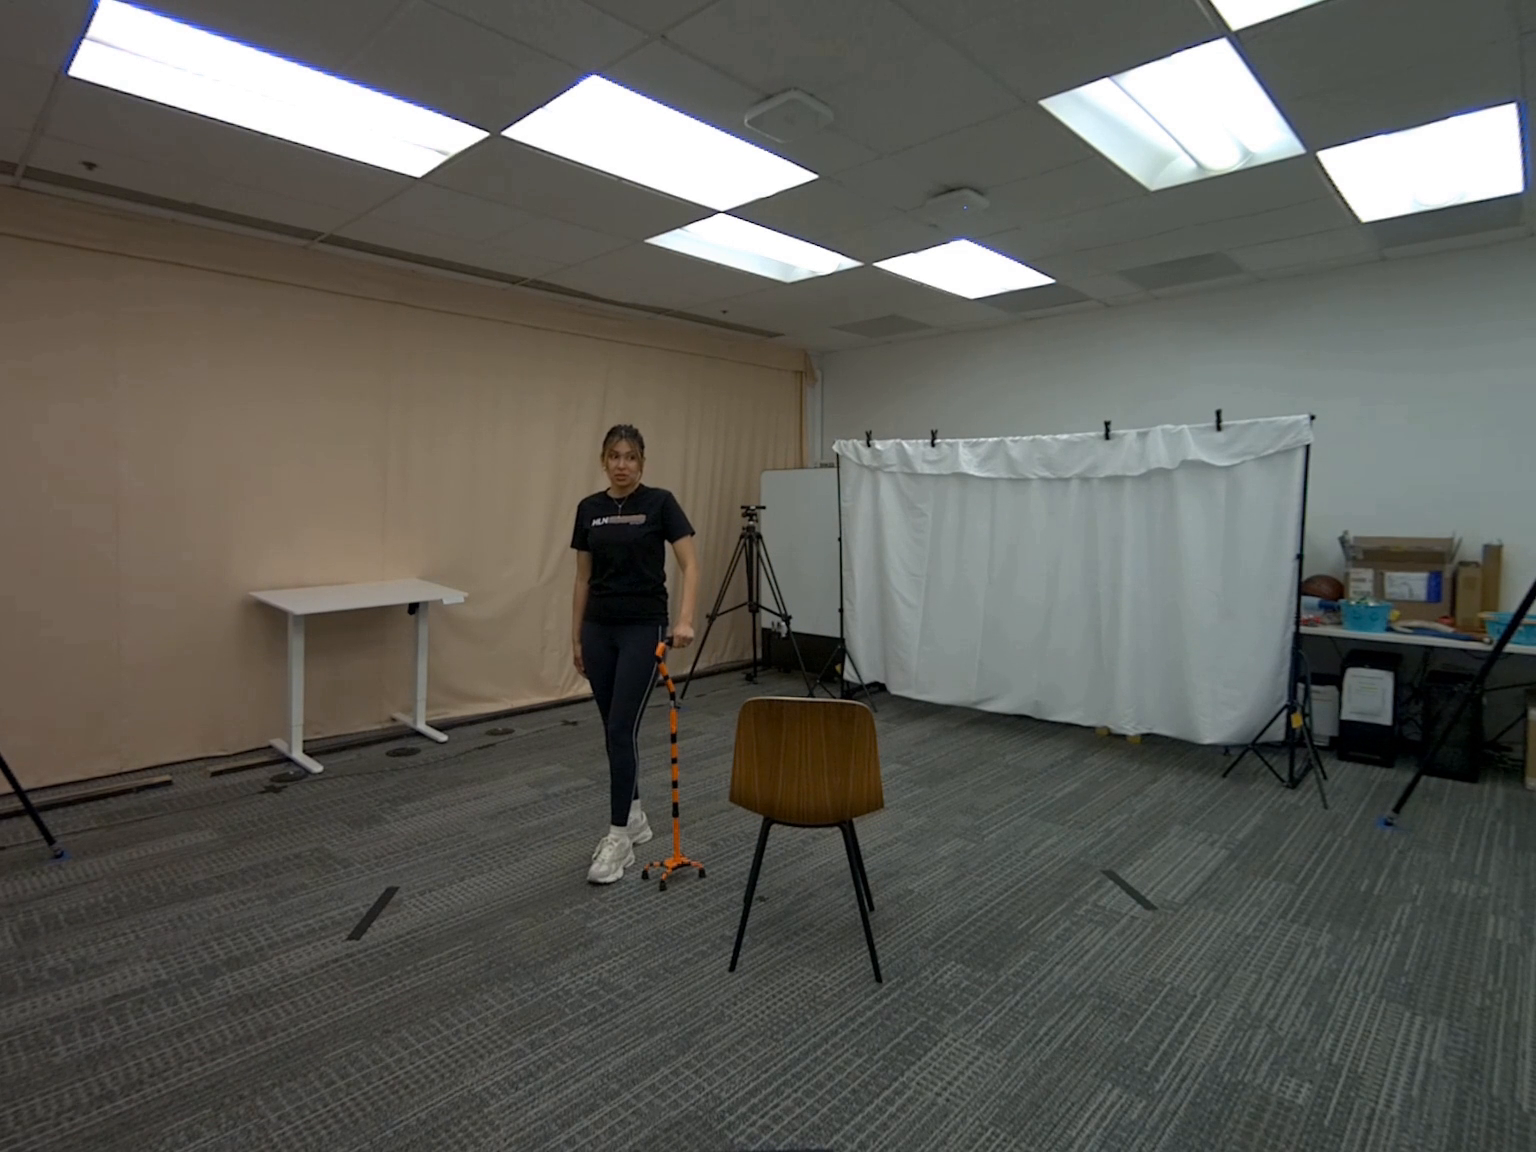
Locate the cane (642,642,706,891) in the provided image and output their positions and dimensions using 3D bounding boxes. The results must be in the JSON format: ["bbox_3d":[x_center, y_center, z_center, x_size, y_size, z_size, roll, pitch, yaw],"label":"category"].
[{"bbox_3d":[-0.354,0.677,3.135,0.200,0.906,0.156,-2,3,-37],"label":"cane"}]
